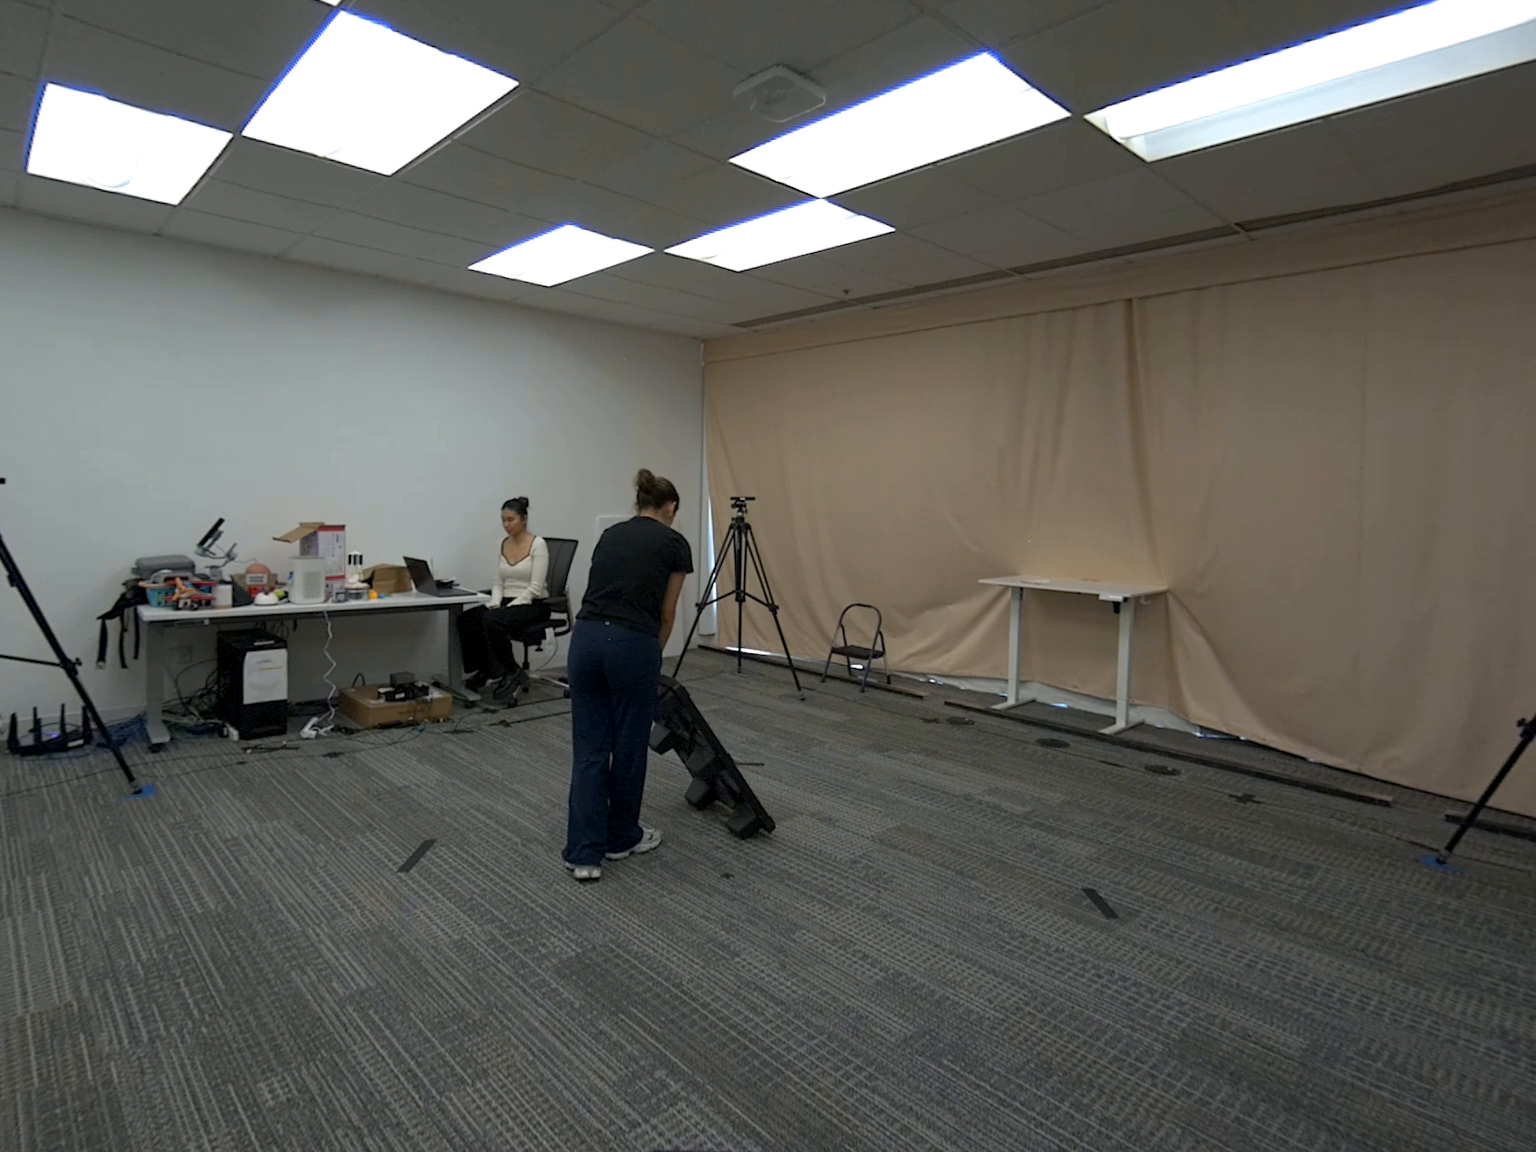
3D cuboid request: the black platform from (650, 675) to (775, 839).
[{"bbox_3d":[-0.358,0.729,3.524,0.143,0.790,0.619,-39,22,-23],"label":"black platform"}]
